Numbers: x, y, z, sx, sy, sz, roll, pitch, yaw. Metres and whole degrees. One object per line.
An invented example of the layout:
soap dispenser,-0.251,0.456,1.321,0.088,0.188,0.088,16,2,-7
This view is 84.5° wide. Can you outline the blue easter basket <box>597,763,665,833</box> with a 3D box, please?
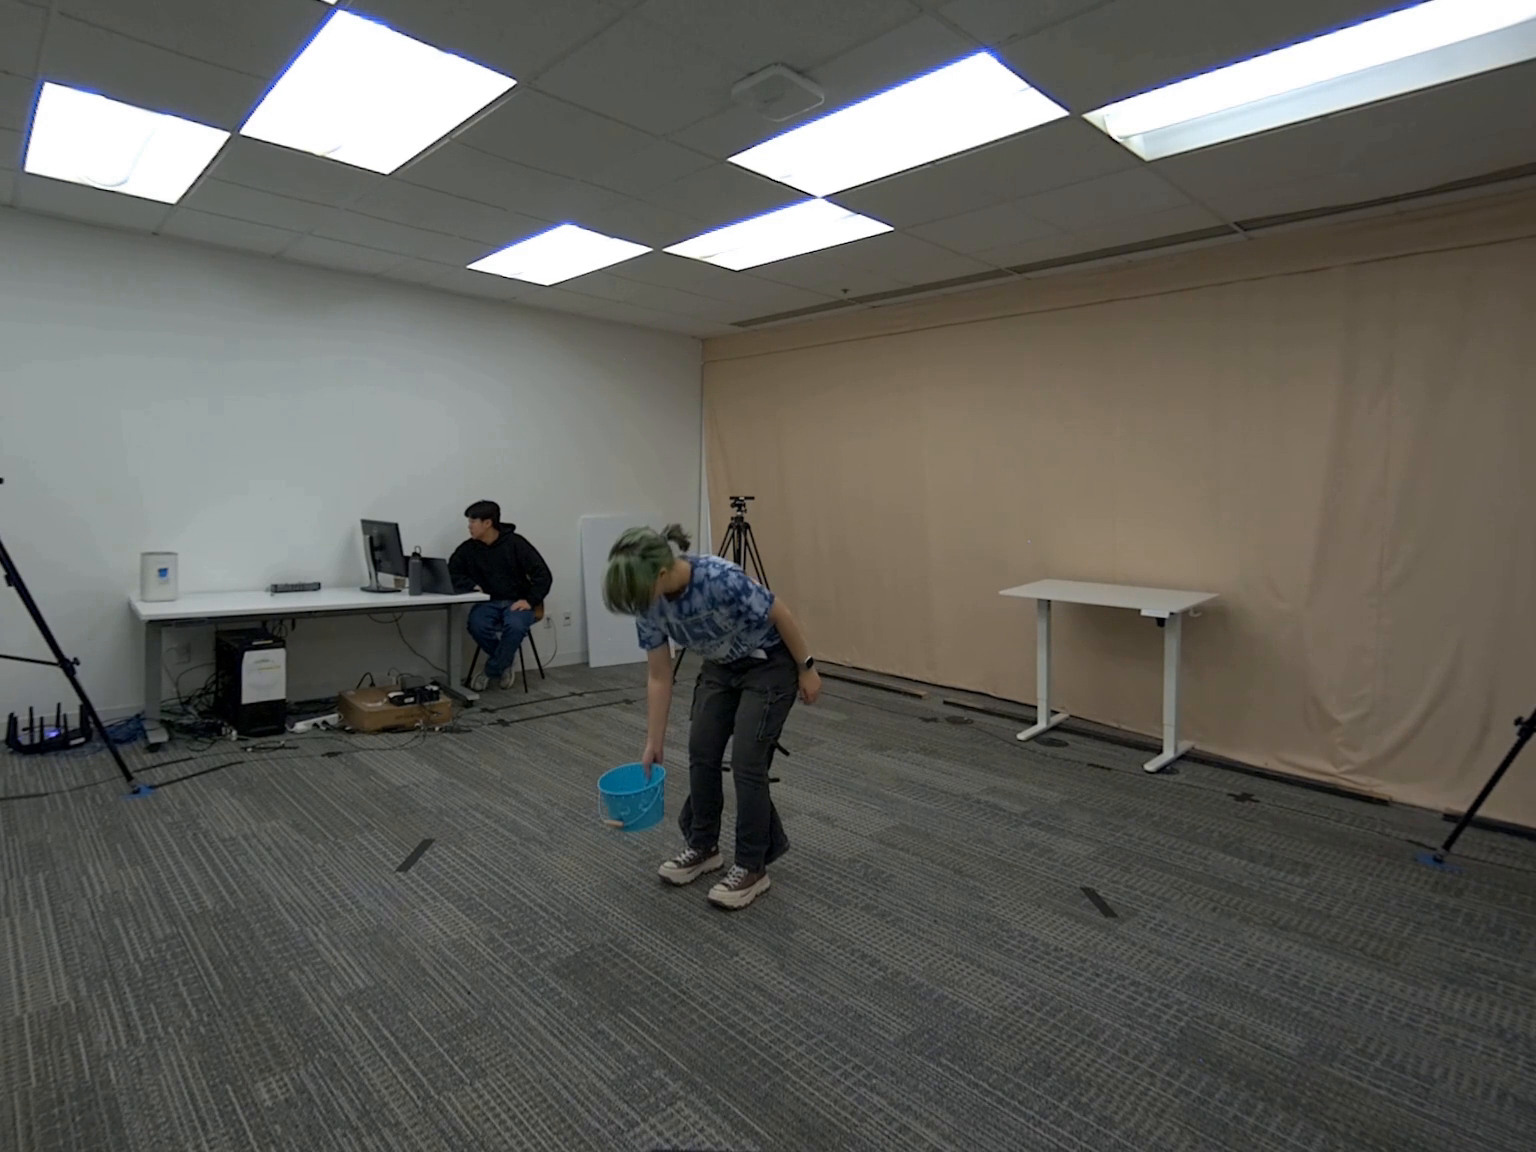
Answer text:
blue easter basket,-0.472,0.761,2.856,0.243,0.154,0.246,-6,11,0
